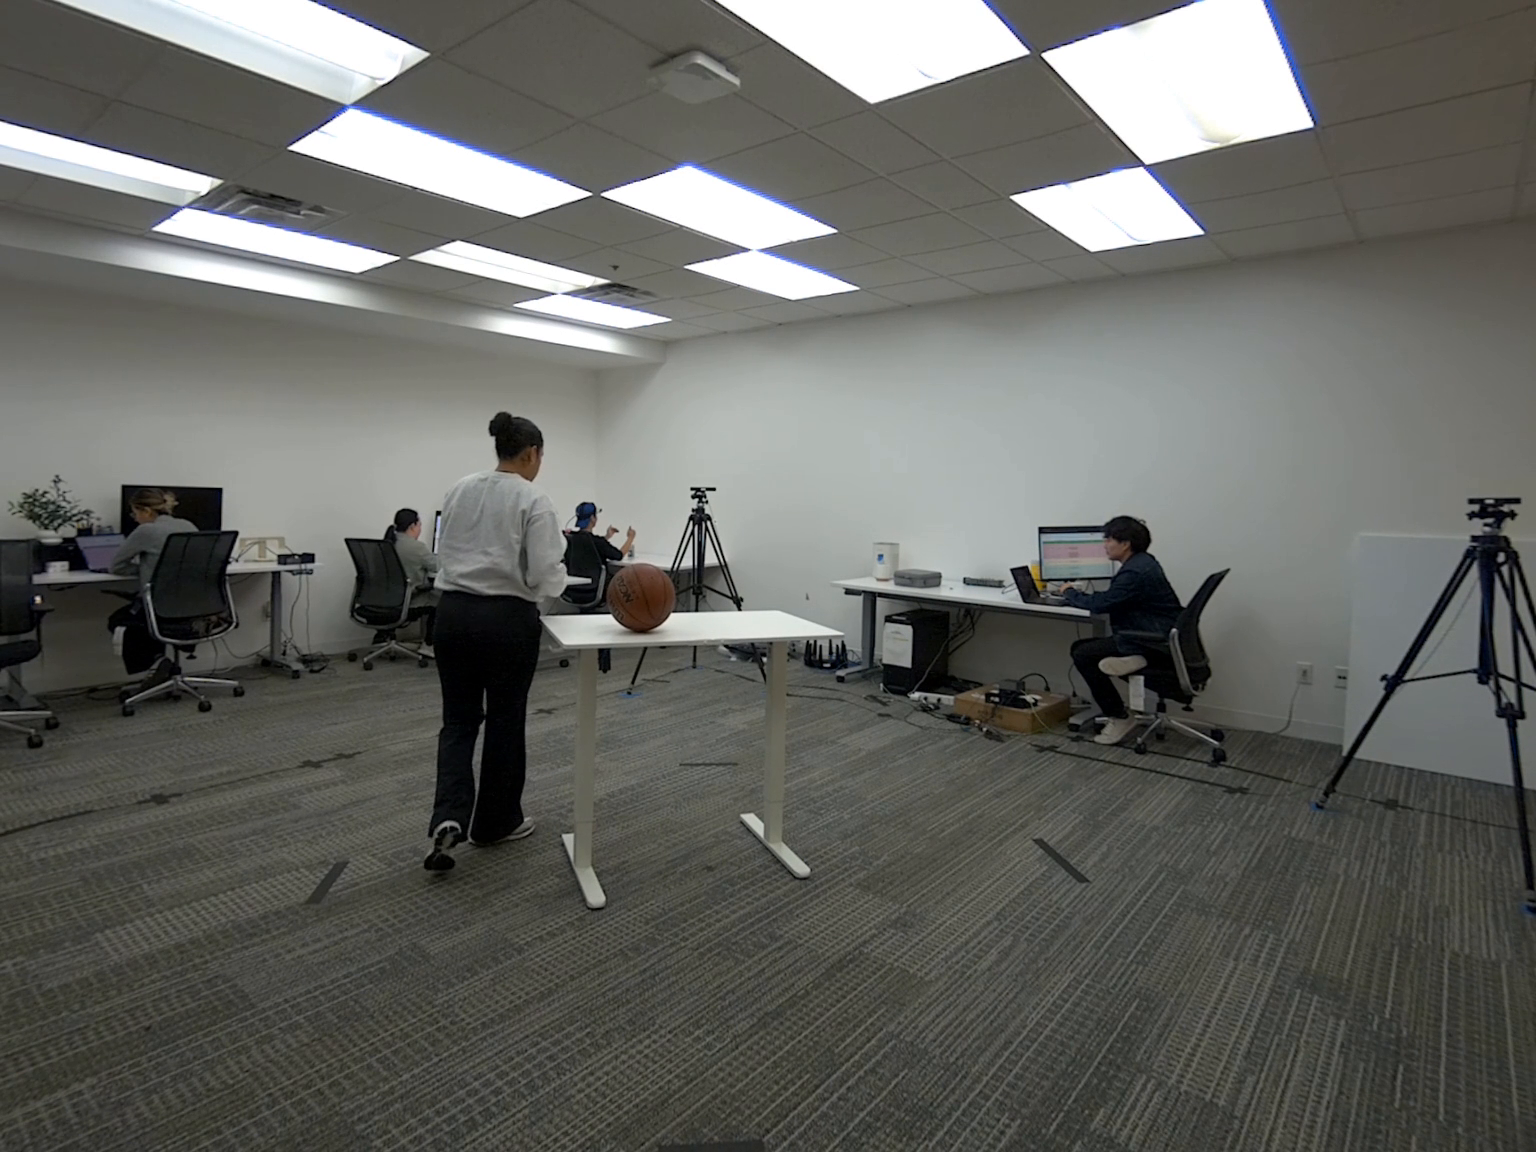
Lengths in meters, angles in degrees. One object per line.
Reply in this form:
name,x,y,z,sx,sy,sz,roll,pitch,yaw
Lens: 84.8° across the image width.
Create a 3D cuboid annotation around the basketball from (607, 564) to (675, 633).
basketball,-0.451,0.071,2.982,0.235,0.235,0.237,1,4,-2
